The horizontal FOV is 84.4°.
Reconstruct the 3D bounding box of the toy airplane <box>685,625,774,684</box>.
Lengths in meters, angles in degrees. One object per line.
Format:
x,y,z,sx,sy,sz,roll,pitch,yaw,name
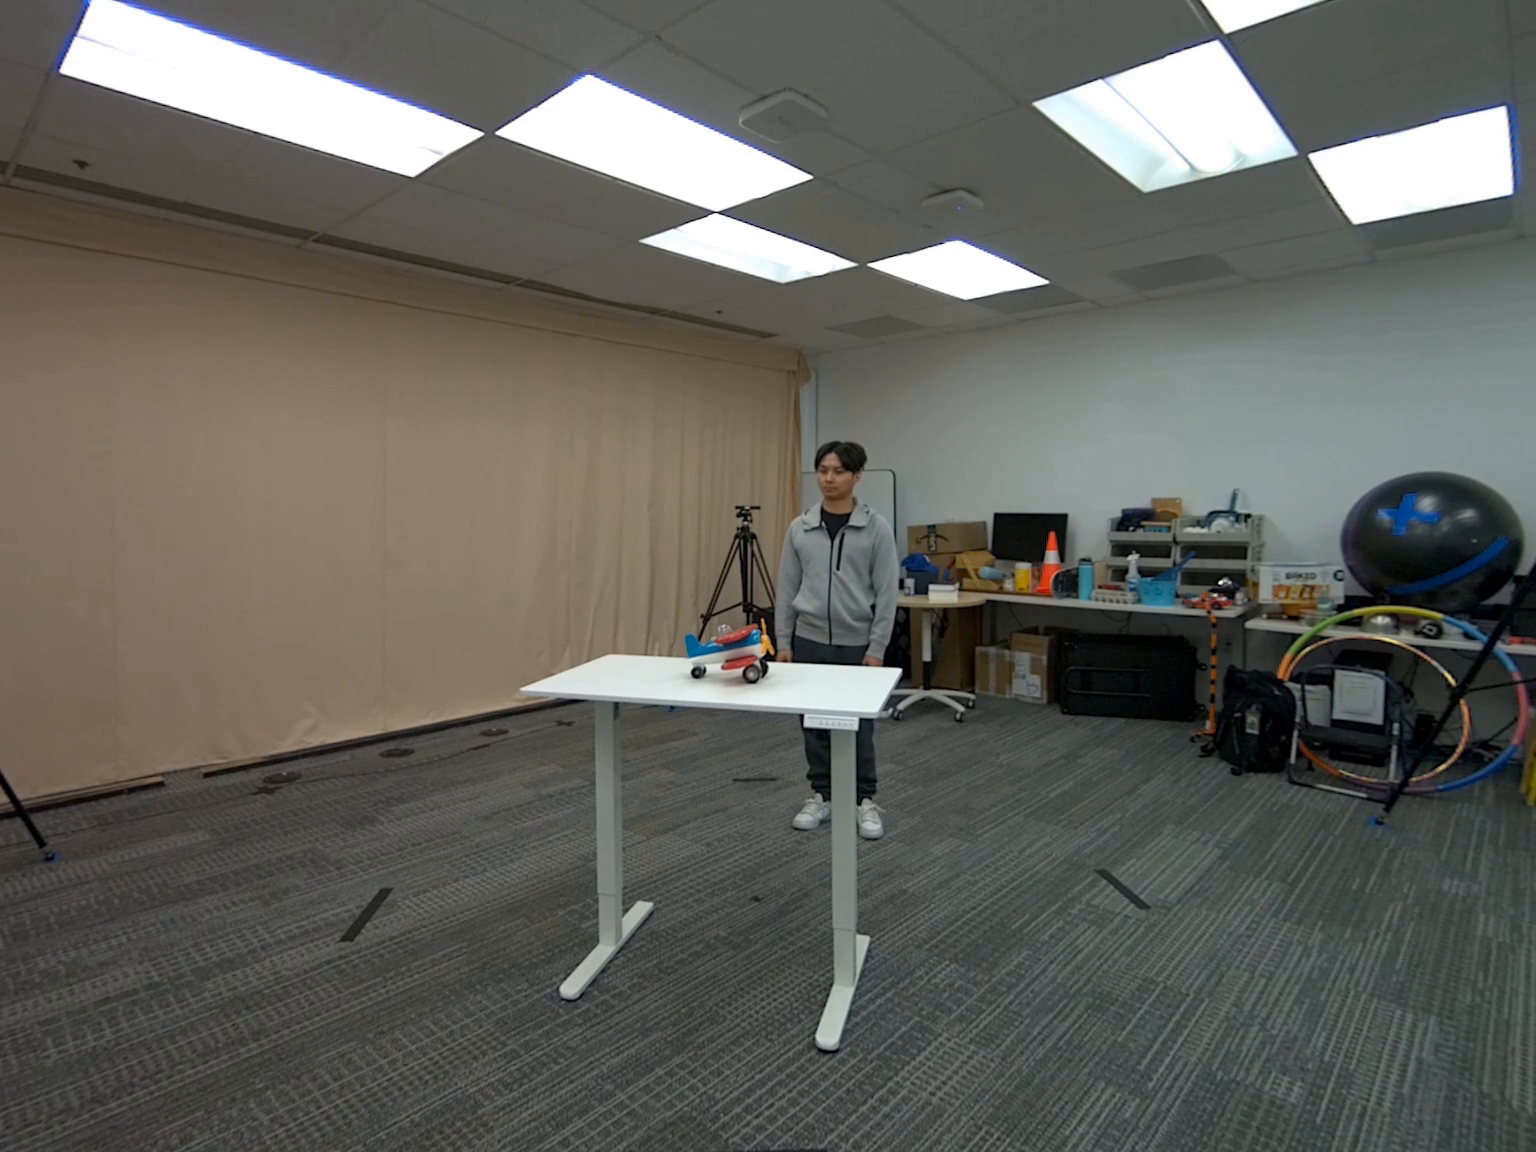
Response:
-0.124,0.231,2.462,0.256,0.156,0.255,-1,4,-12,toy airplane
